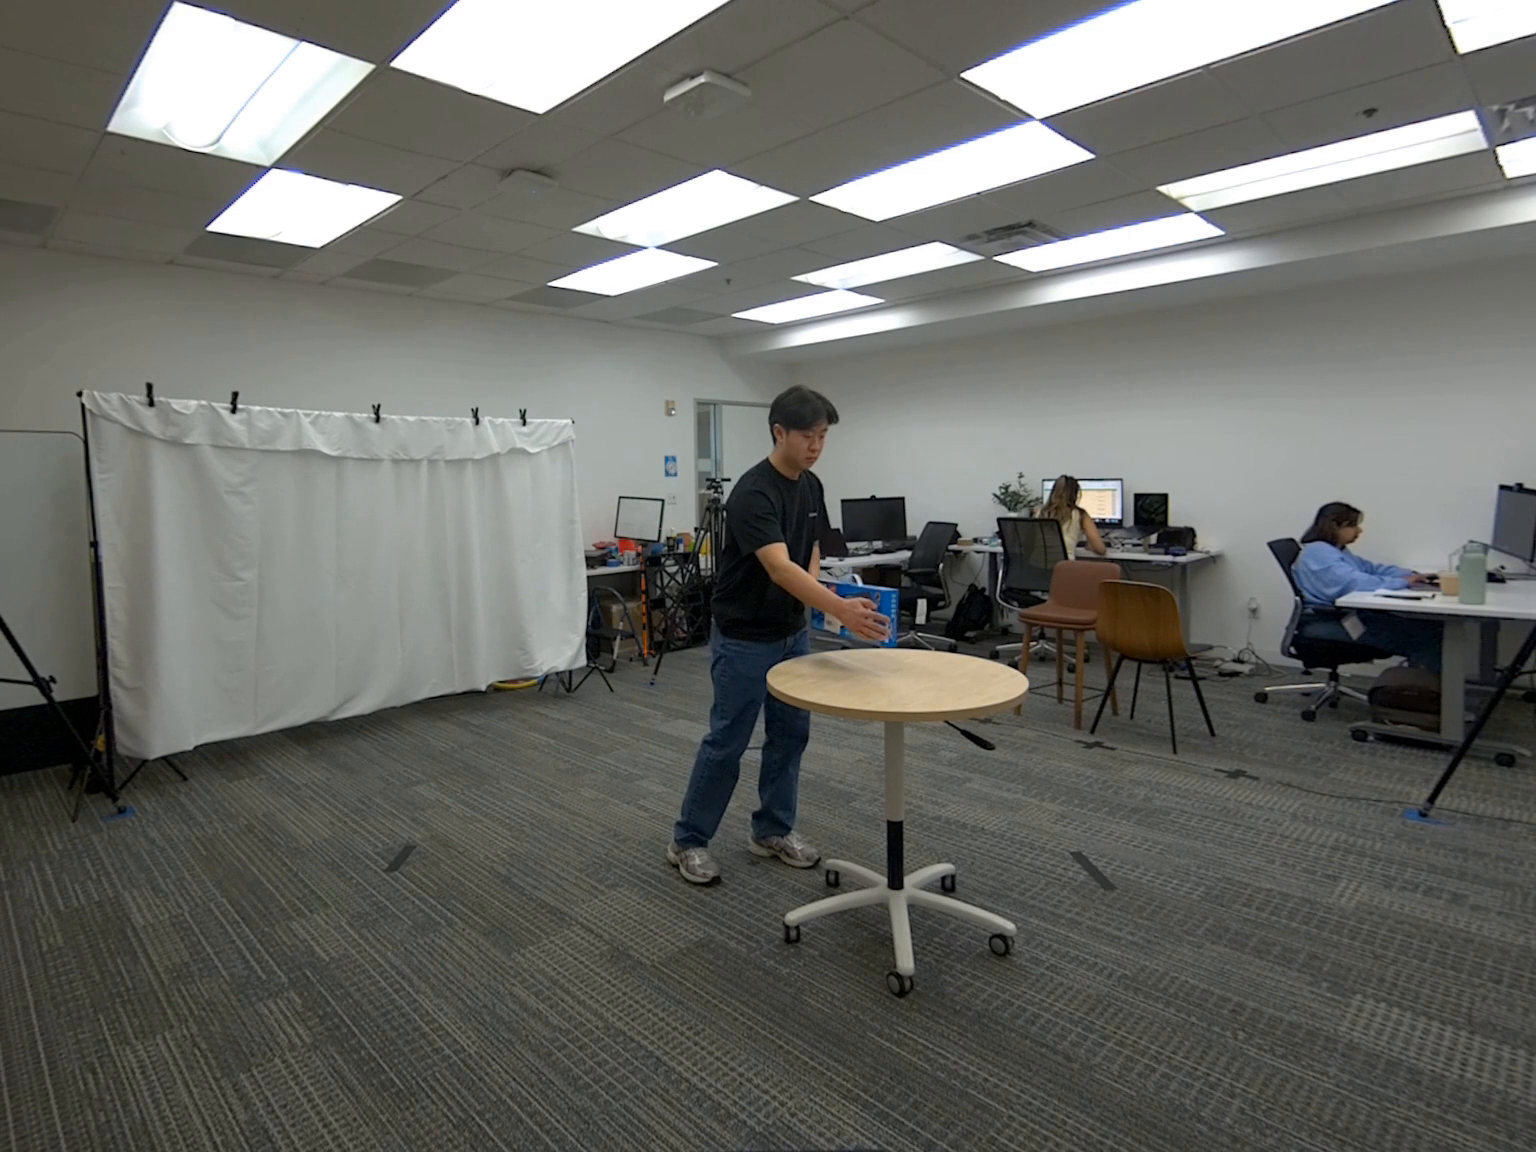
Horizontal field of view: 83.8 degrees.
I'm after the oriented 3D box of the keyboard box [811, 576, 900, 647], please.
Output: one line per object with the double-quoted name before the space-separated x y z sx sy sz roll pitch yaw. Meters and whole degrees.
"keyboard box" 0.269 0.116 2.753 0.058 0.176 0.447 2 2 -25
